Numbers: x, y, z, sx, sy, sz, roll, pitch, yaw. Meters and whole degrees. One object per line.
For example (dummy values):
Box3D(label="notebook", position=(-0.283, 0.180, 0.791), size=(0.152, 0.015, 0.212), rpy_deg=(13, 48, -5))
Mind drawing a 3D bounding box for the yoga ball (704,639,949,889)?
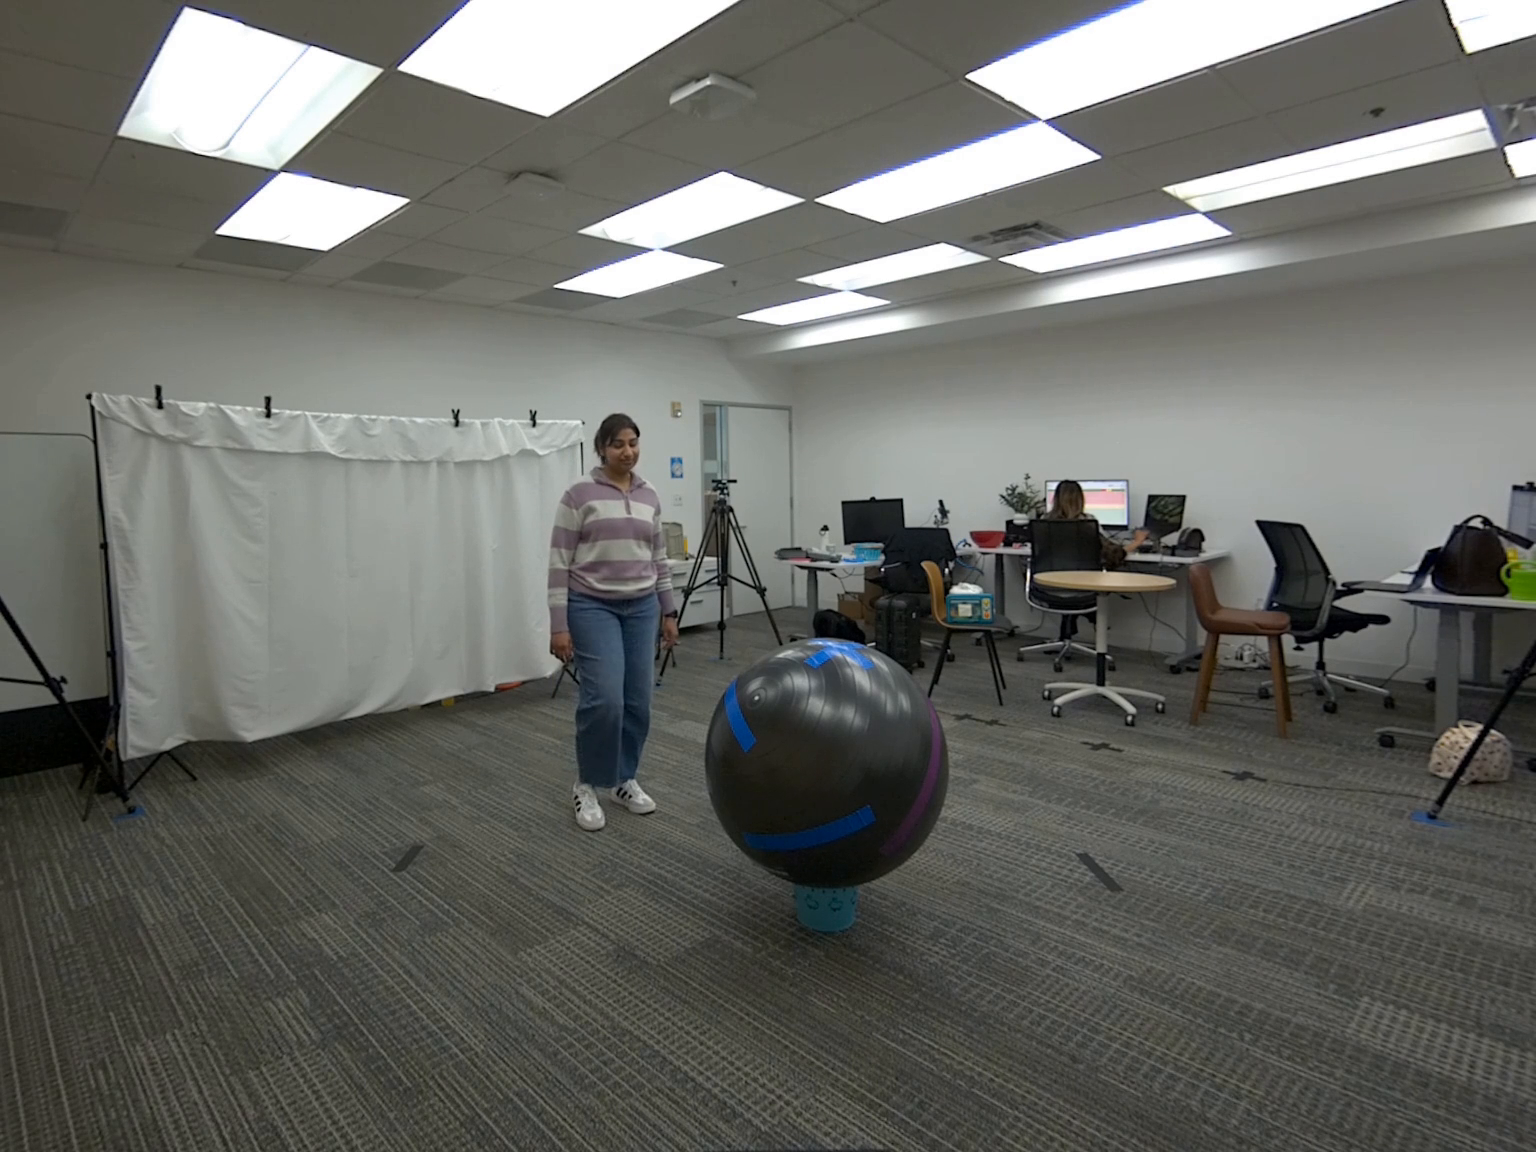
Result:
Box3D(label="yoga ball", position=(0.181, 0.583, 2.683), size=(0.757, 0.755, 0.762), rpy_deg=(-1, 5, -2))
